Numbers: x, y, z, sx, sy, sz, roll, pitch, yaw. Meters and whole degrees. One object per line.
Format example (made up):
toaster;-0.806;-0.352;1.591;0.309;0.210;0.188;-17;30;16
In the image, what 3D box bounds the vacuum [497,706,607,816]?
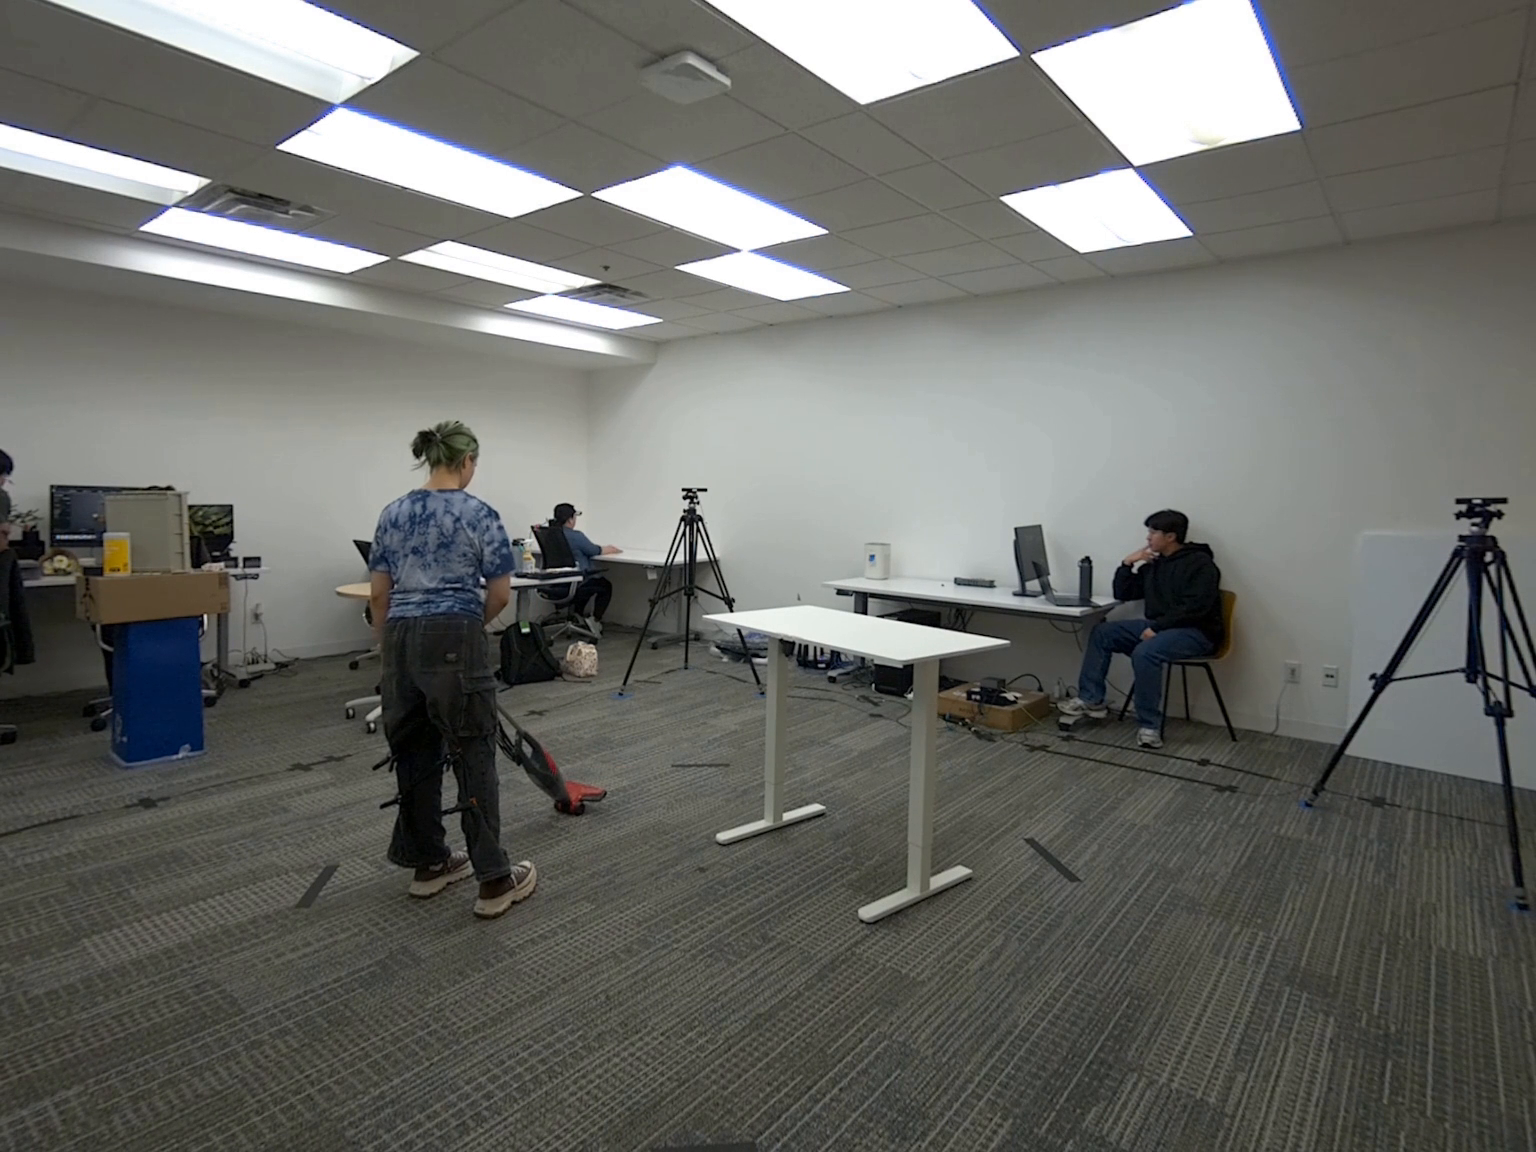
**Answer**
vacuum;-1.006;0.647;3.359;0.259;0.146;1.008;-1;-42;26
